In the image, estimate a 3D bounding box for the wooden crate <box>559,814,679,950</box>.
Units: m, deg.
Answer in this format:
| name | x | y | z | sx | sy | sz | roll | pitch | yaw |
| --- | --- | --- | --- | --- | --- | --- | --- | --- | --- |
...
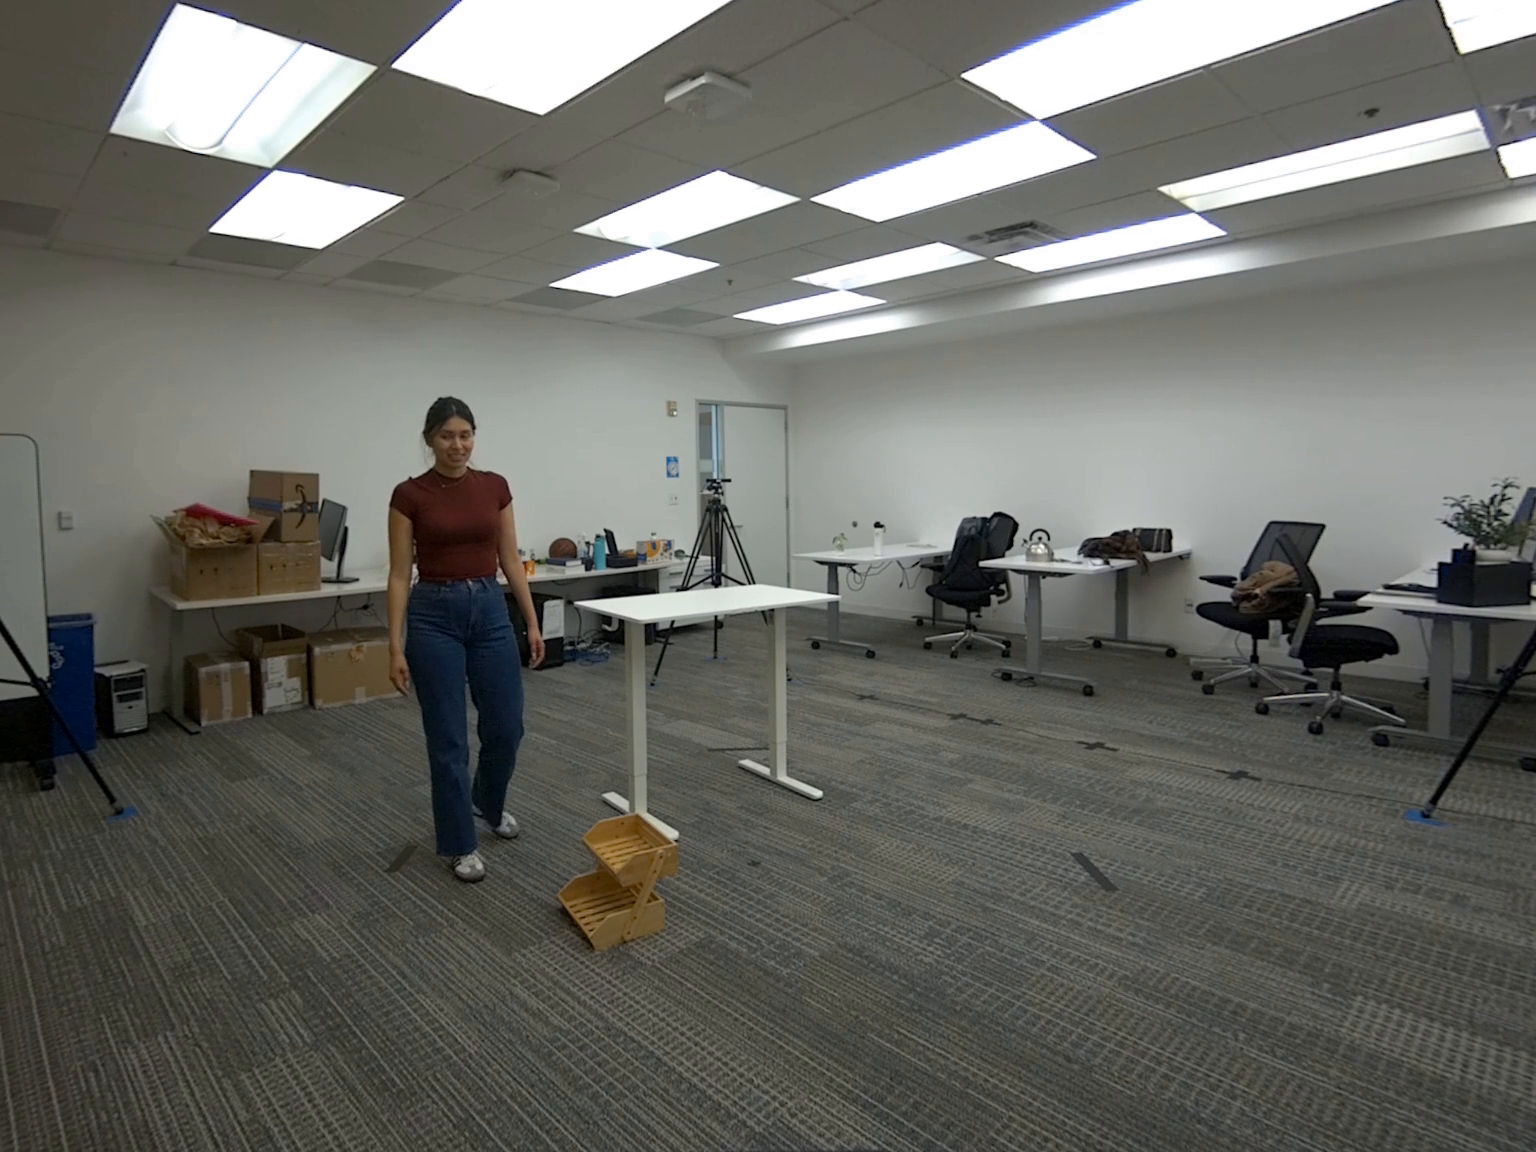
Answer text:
| name | x | y | z | sx | sy | sz | roll | pitch | yaw |
| --- | --- | --- | --- | --- | --- | --- | --- | --- | --- |
| wooden crate | -0.485 | 0.962 | 2.732 | 0.295 | 0.272 | 0.334 | -4 | 6 | -31 |
